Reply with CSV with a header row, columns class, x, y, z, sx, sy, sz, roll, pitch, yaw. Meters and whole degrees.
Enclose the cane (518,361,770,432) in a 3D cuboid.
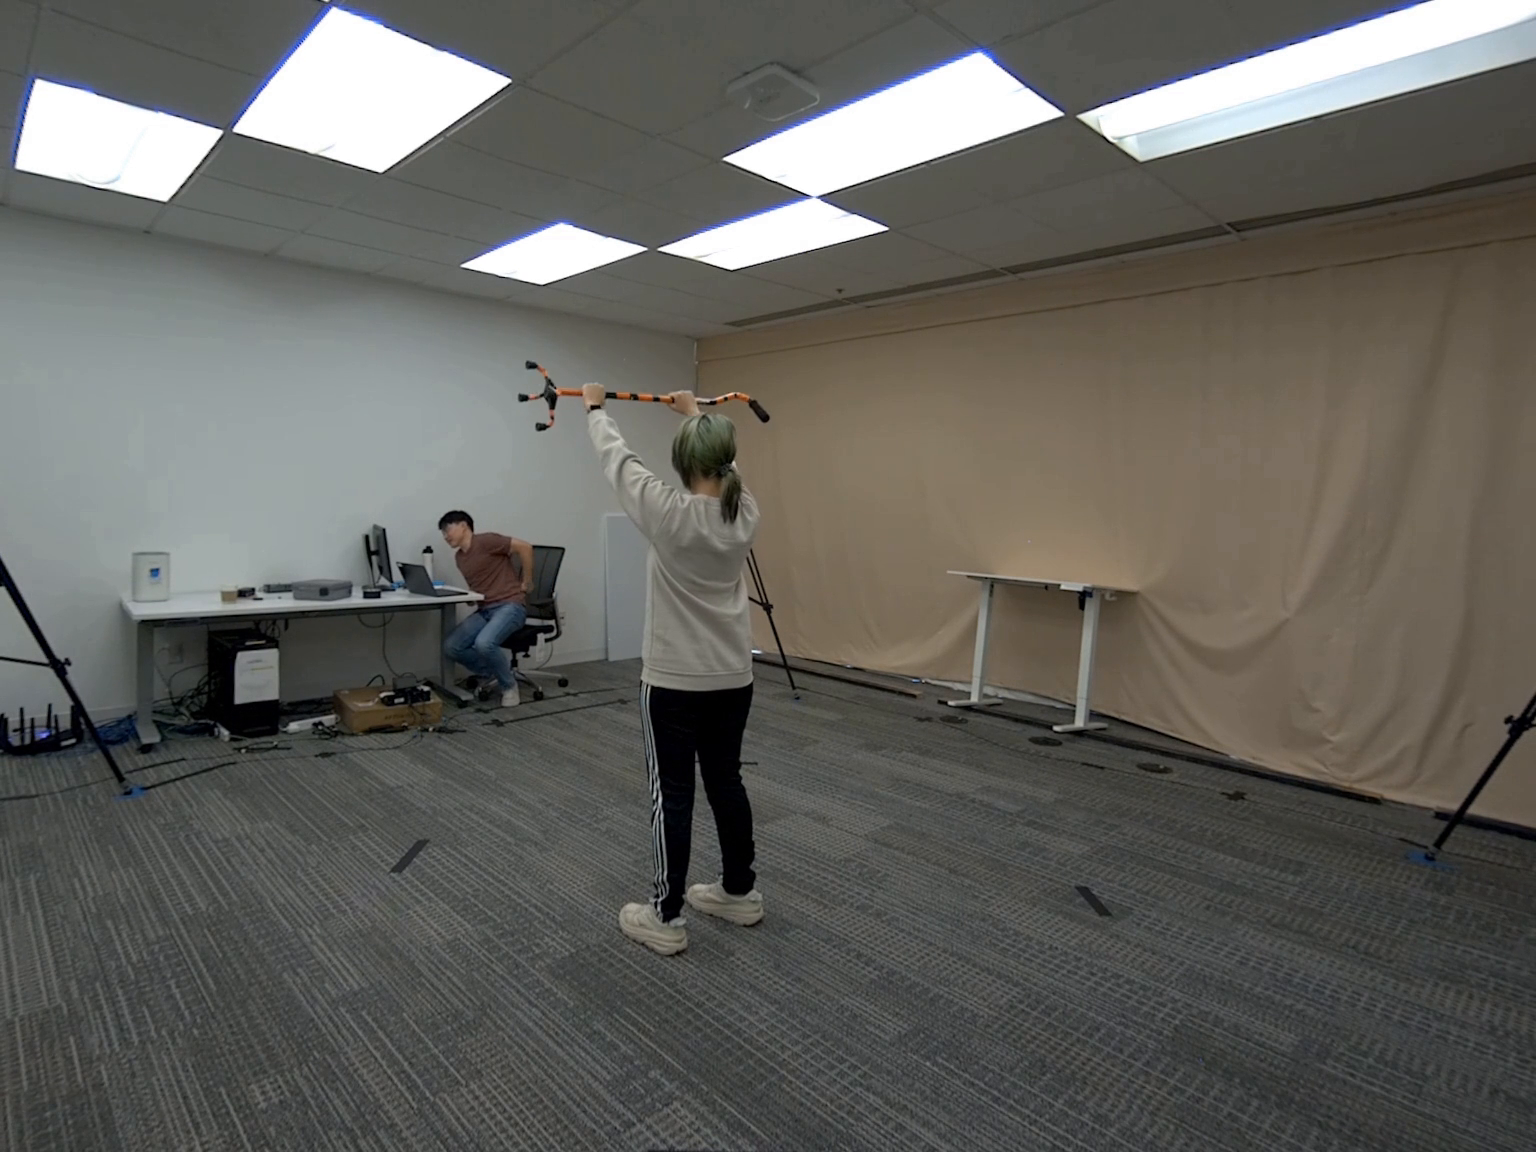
class,x,y,z,sx,sy,sz,roll,pitch,yaw
cane,-0.400,-0.609,2.968,0.889,0.150,0.213,-4,44,-36
